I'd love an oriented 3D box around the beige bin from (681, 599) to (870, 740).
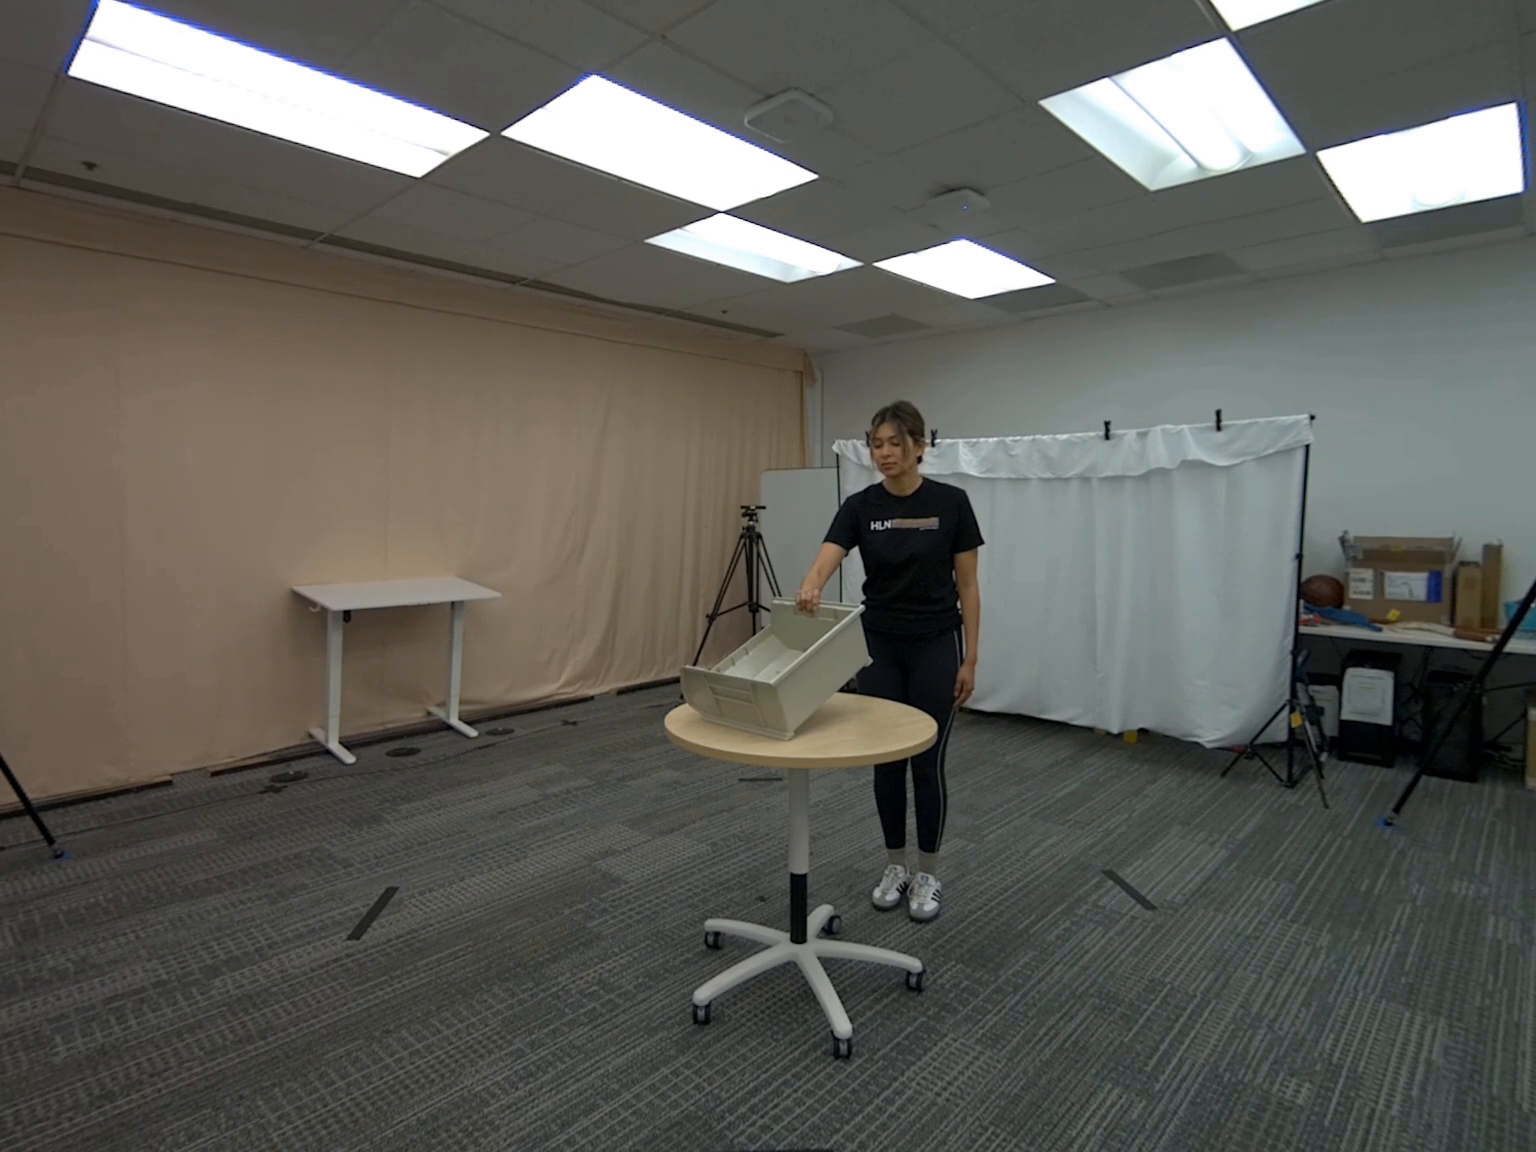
[{"bbox_3d":[0.027,0.251,2.374,0.390,0.186,0.415,5,29,44],"label":"beige bin"}]
